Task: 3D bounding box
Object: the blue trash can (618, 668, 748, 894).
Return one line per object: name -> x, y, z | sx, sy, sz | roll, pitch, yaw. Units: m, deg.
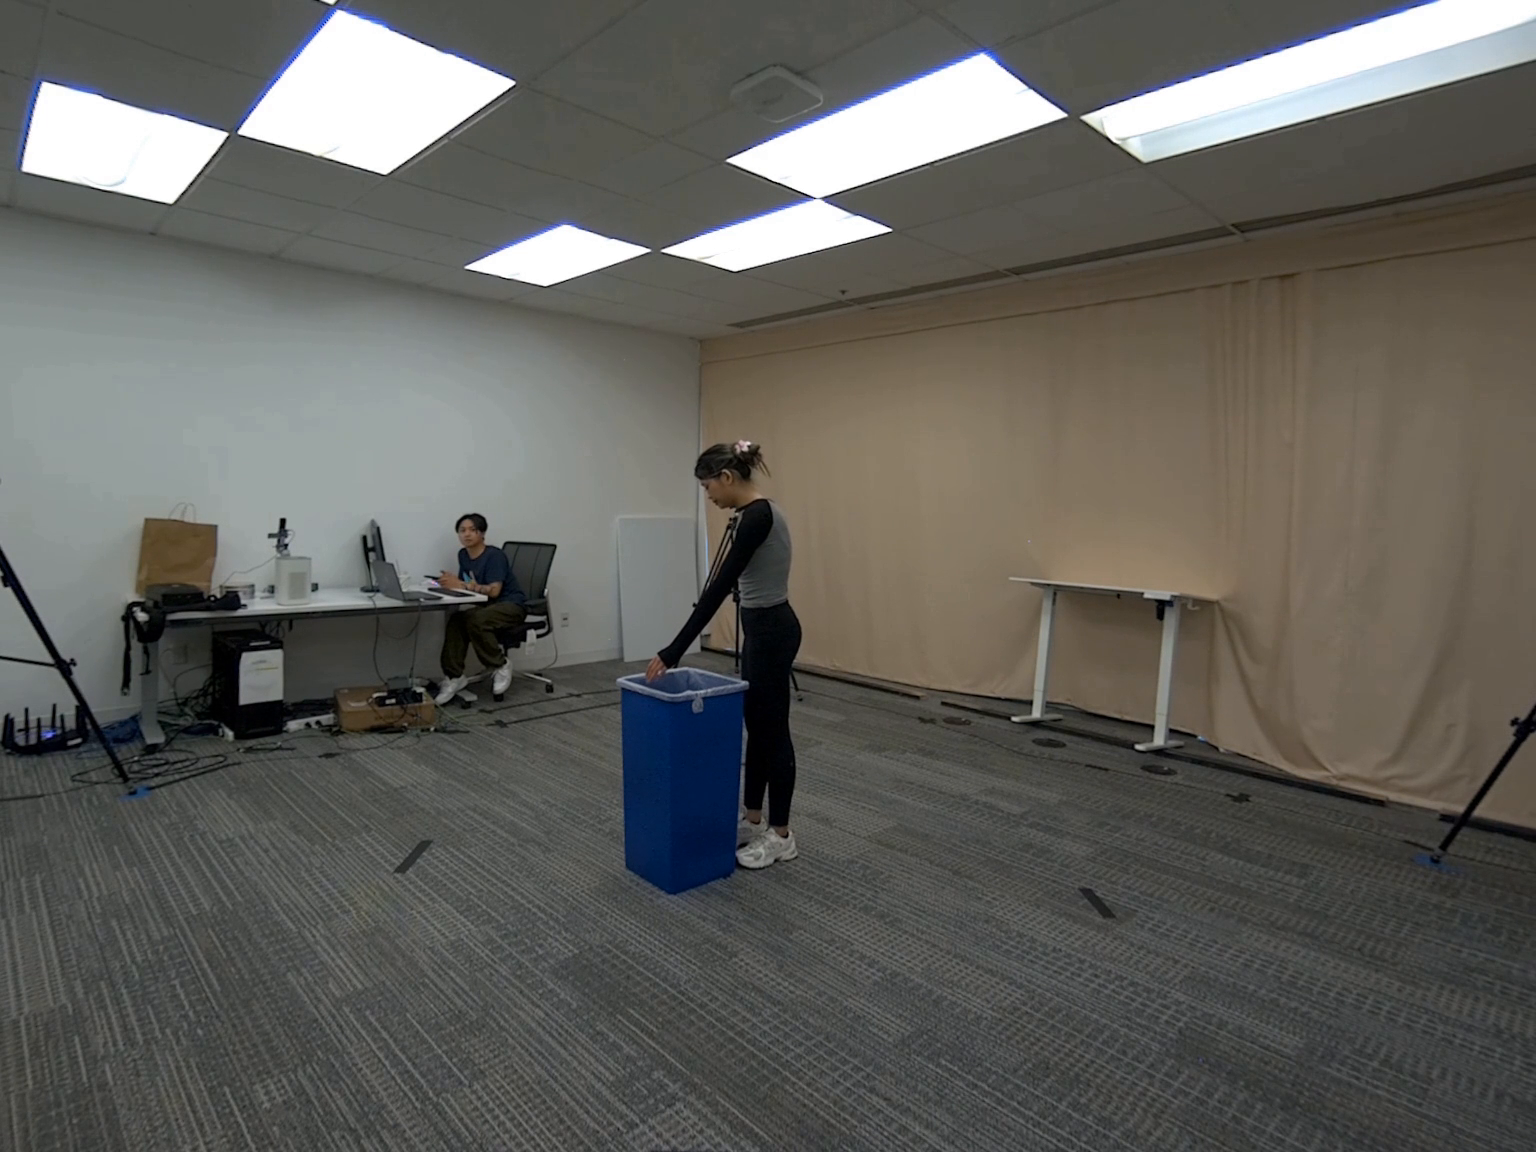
blue trash can -> -0.336, 0.743, 3.134 | 0.369, 0.712, 0.384 | -1, 5, -42
